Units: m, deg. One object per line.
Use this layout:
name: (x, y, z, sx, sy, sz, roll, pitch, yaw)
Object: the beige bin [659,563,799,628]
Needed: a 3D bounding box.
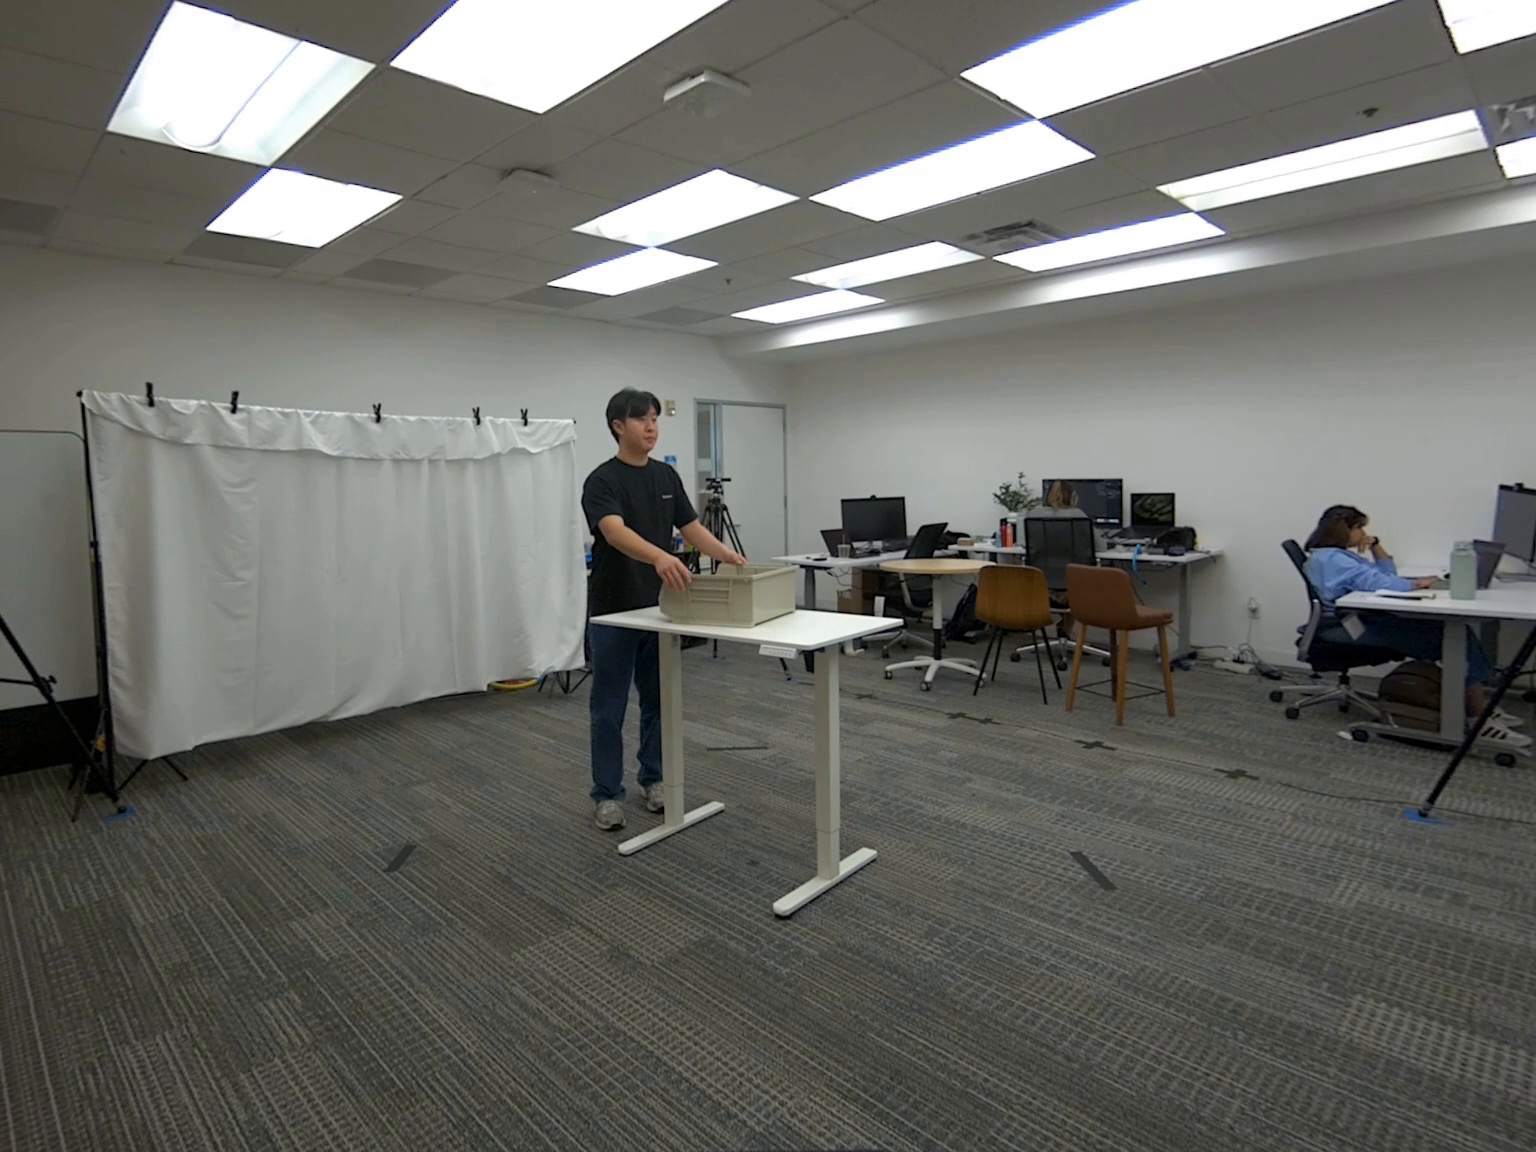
beige bin: (-0.131, 0.066, 3.164, 0.387, 0.188, 0.414, 4, 7, 27)
